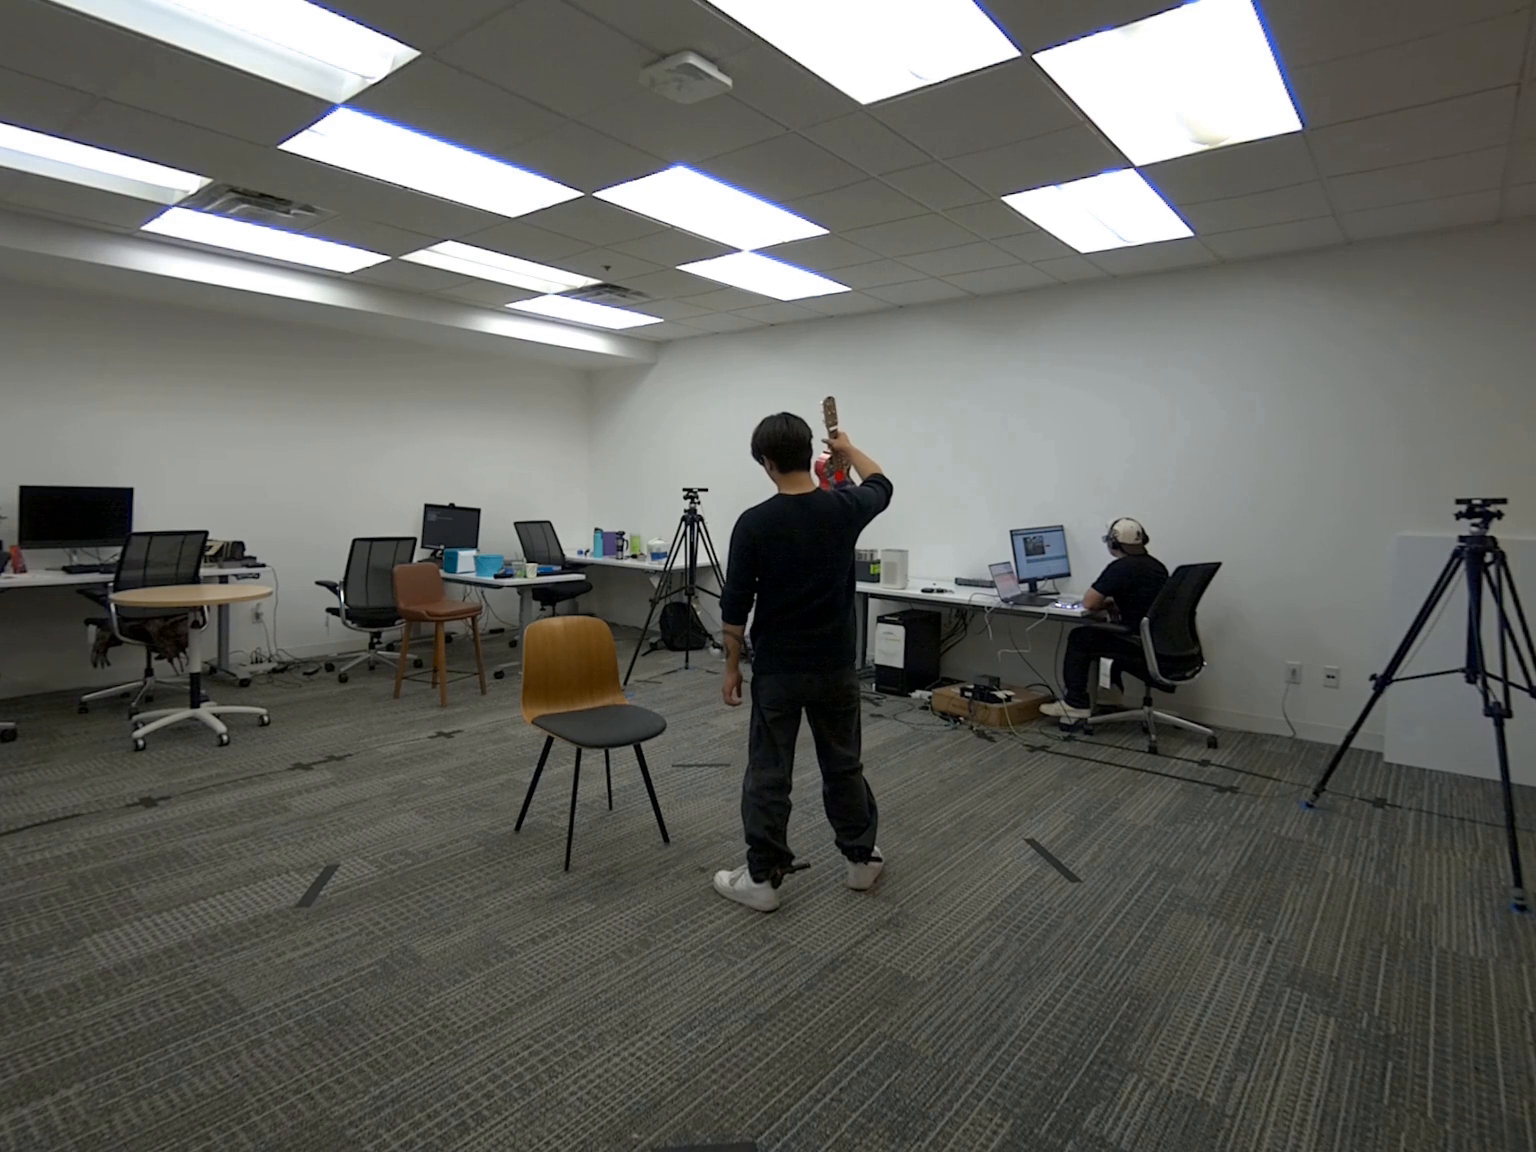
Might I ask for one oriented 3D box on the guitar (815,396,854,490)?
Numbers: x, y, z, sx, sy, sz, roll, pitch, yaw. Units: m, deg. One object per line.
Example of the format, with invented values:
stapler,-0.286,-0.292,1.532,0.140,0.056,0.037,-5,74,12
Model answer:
guitar,0.274,-0.484,3.412,0.189,0.490,0.073,-10,18,-26
